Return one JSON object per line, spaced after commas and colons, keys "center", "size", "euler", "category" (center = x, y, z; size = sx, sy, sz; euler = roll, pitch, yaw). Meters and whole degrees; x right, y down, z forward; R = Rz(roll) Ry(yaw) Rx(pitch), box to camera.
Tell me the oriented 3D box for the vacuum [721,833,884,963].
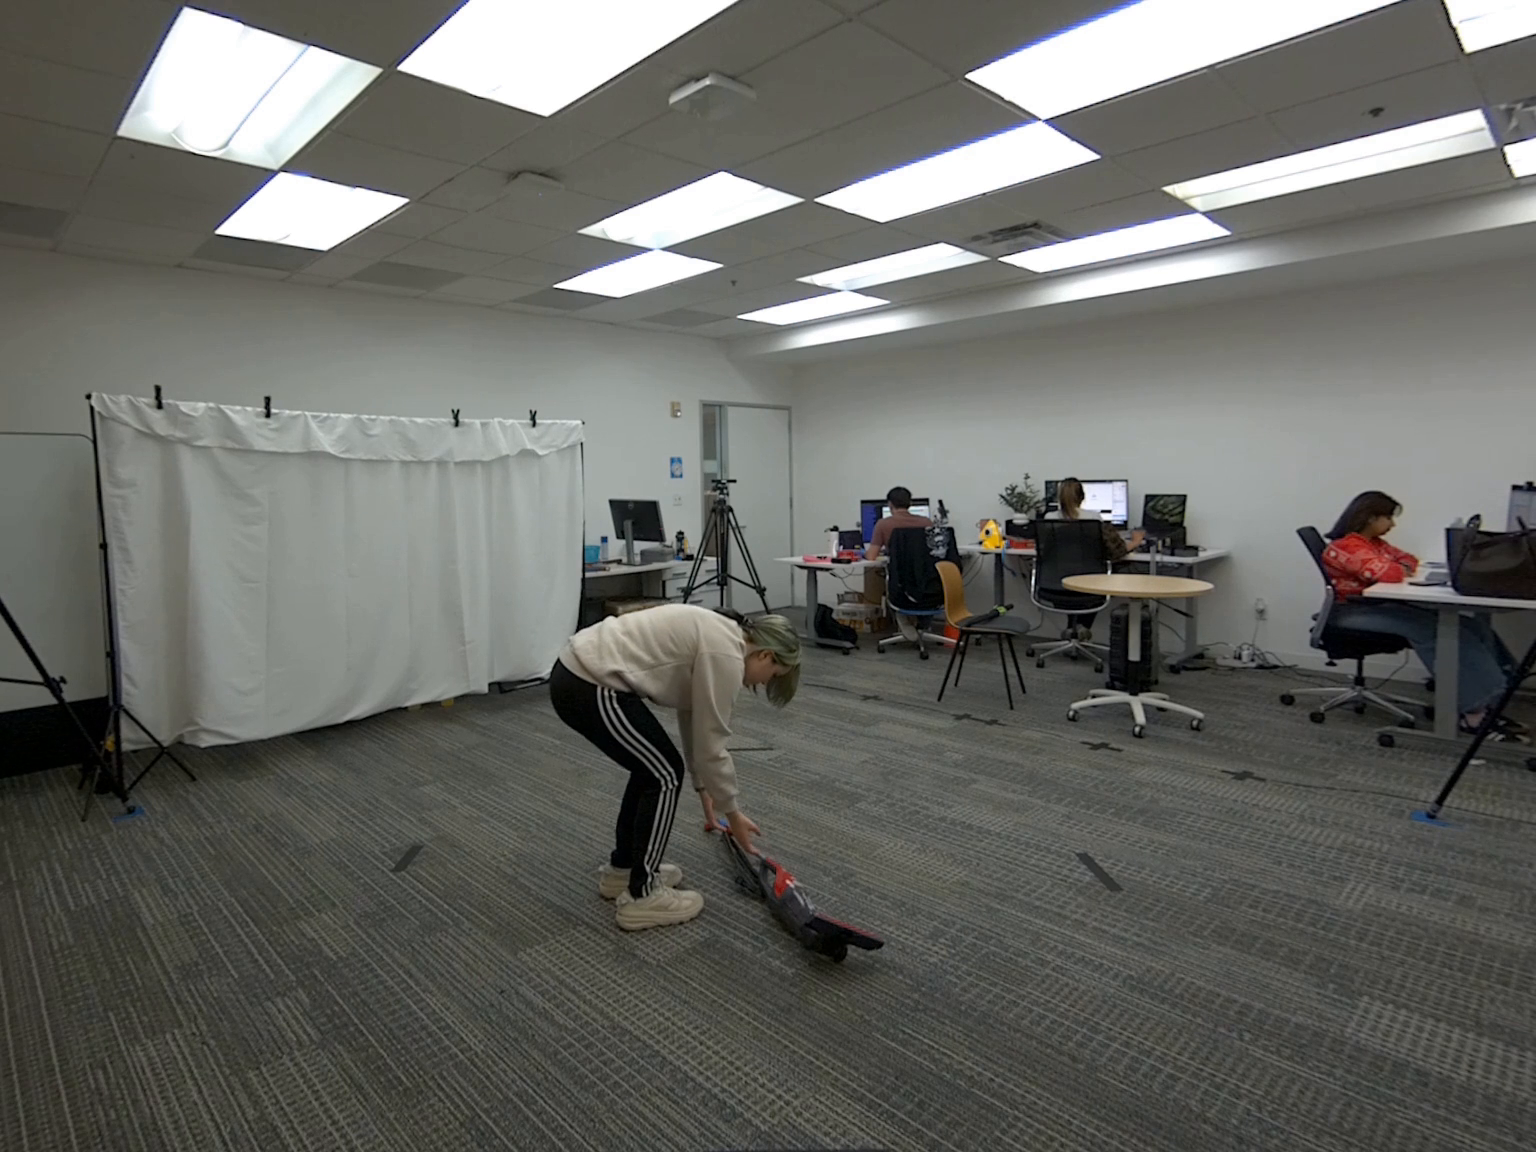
{"center": [-0.023, 1.010, 2.911], "size": [0.246, 0.144, 1.071], "euler": [32, -11, -21], "category": "vacuum"}
